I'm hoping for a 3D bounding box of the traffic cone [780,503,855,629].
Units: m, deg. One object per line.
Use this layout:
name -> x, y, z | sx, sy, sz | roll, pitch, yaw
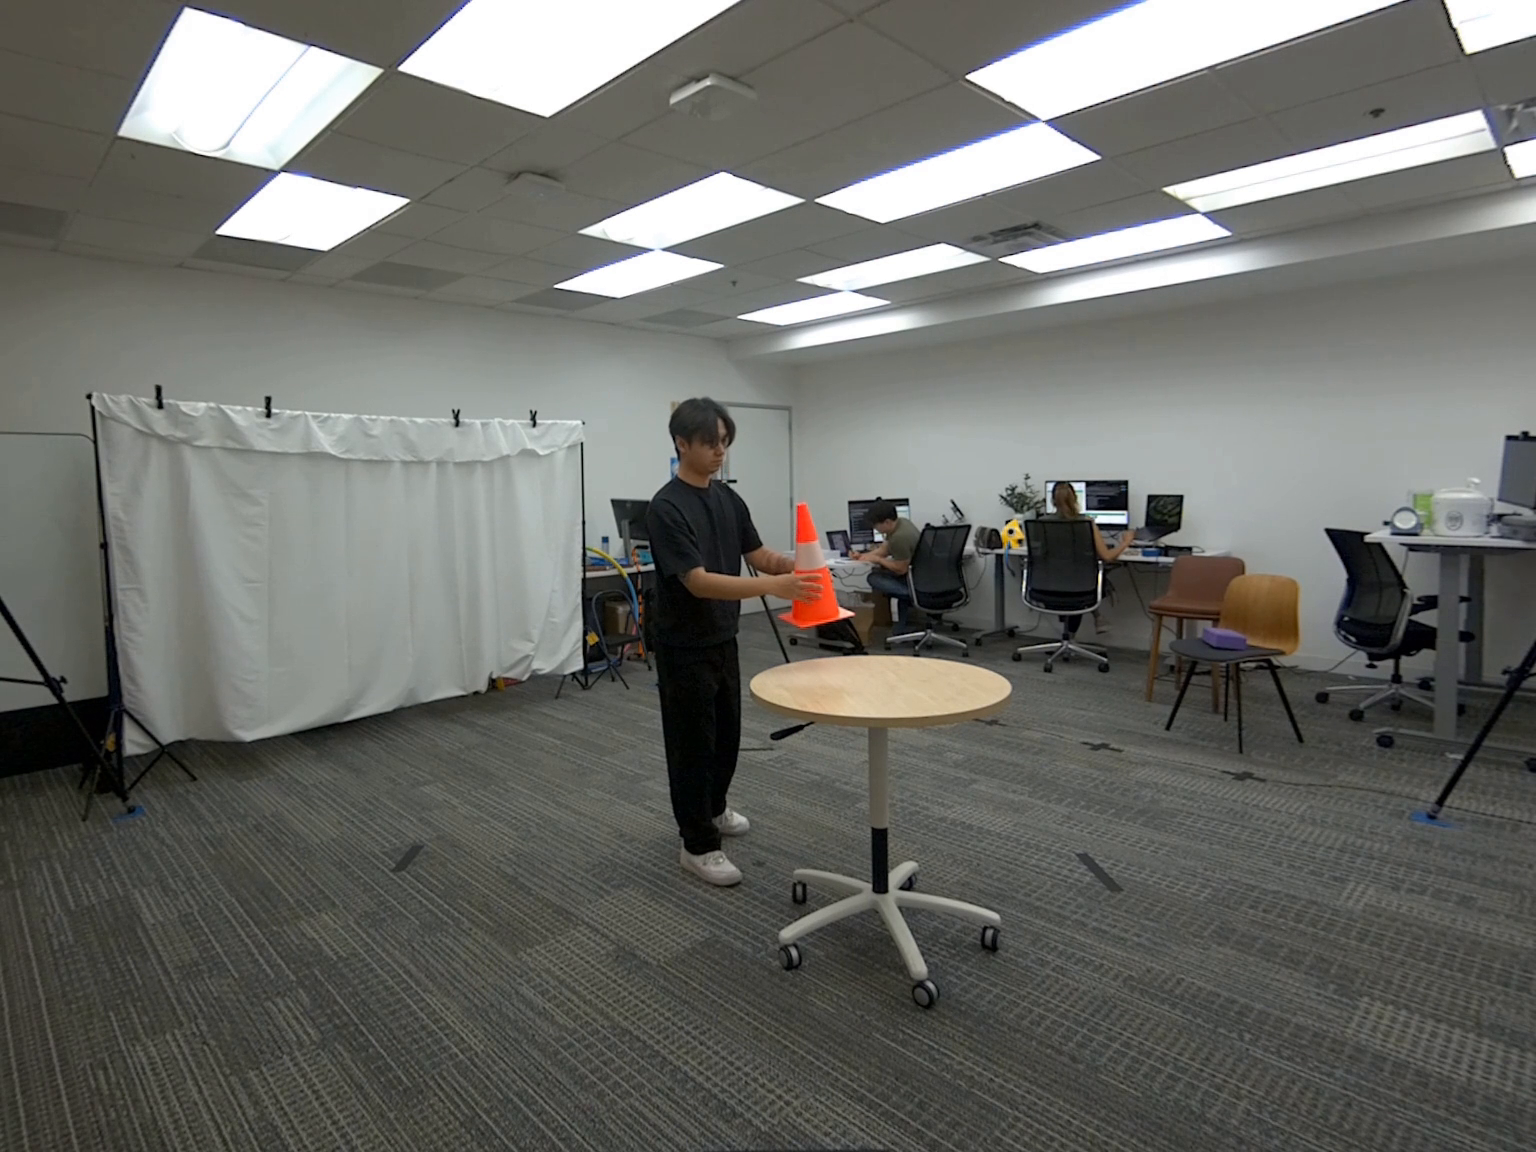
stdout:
traffic cone -> 0.134, -0.050, 2.803 | 0.200, 0.379, 0.211 | -15, 15, -30
